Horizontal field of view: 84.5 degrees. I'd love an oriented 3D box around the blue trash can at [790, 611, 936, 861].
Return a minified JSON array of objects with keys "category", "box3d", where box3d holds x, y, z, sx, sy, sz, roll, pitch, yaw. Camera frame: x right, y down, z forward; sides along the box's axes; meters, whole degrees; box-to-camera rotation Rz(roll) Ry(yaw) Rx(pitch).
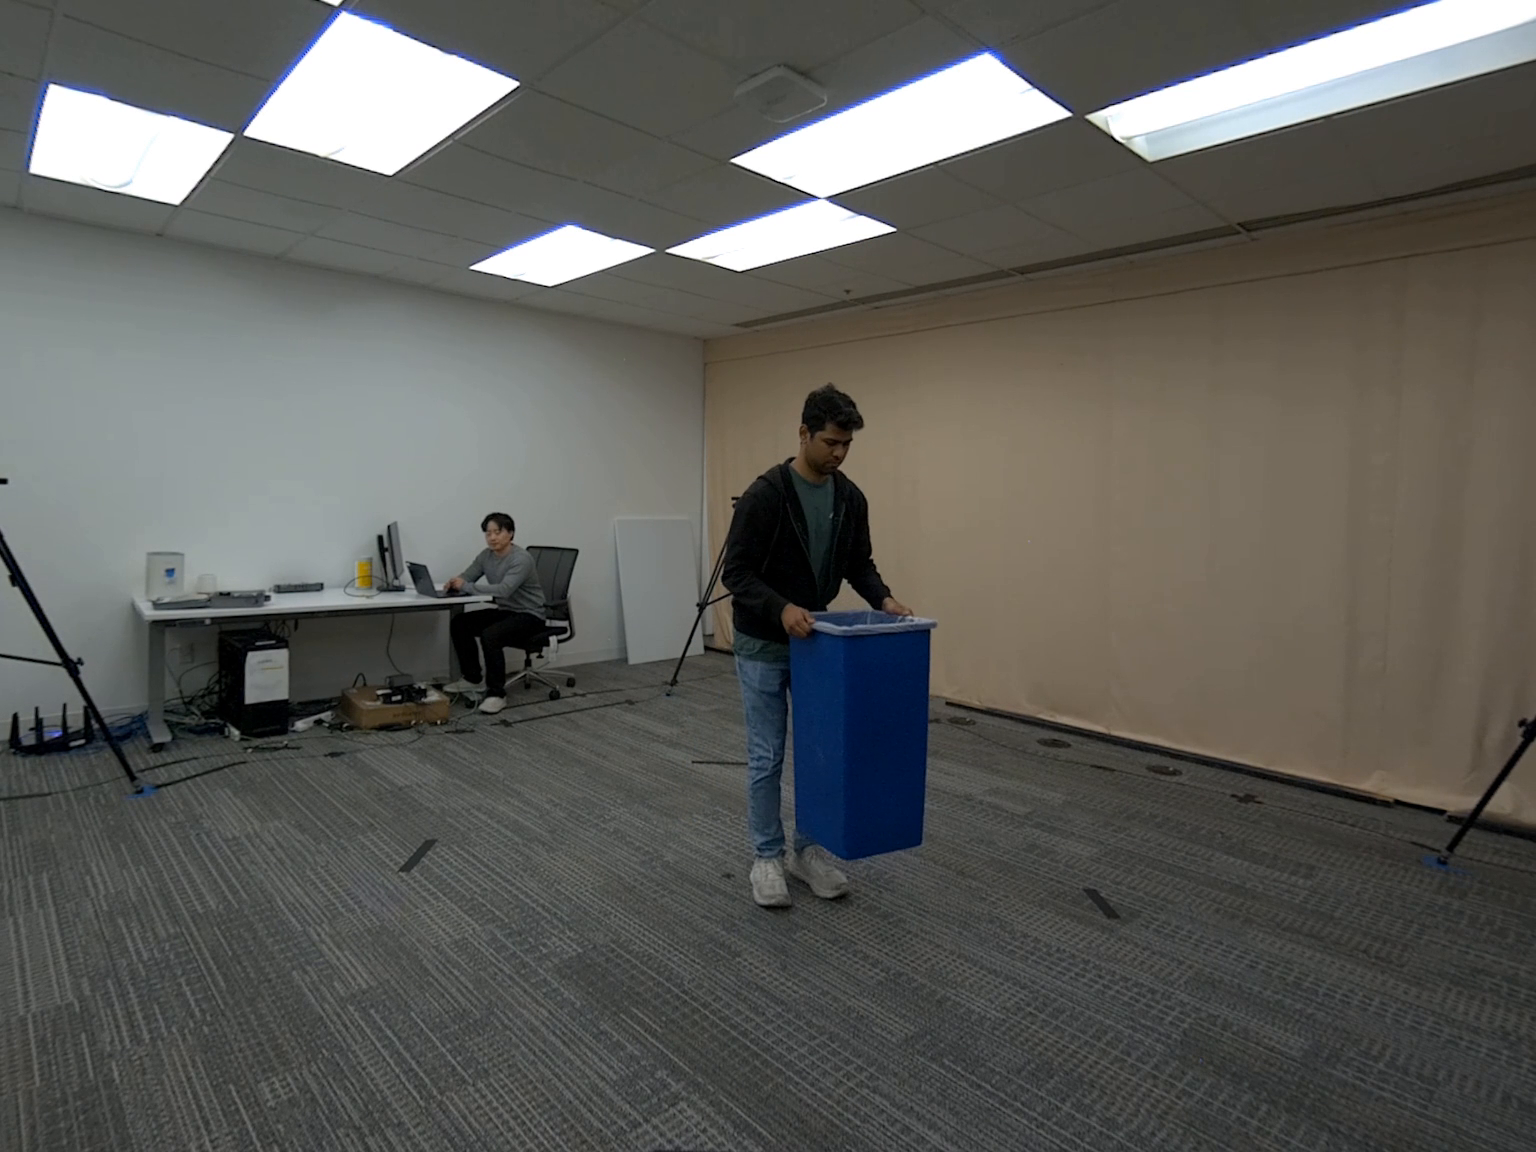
[{"category":"blue trash can","box3d":[0.286,0.498,2.707,0.367,0.712,0.386,-1,2,-28]}]
